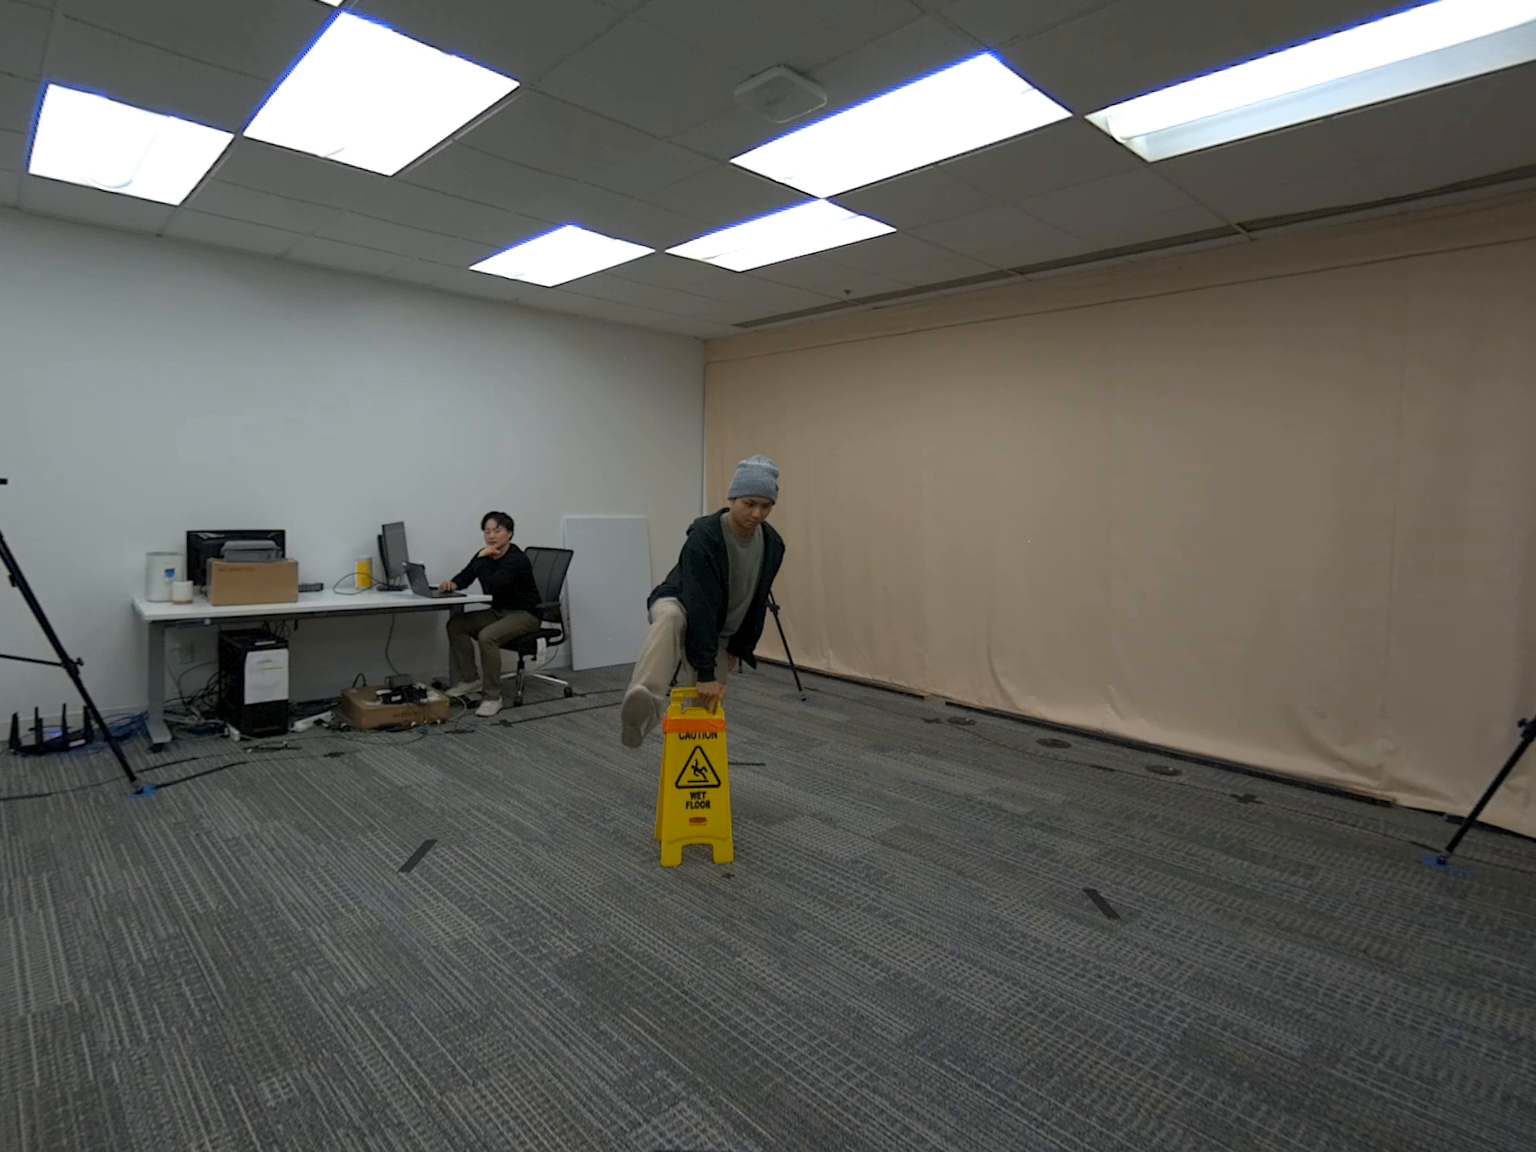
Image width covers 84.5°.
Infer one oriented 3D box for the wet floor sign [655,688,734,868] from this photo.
[{"bbox_3d":[-0.299,0.758,3.308,0.280,0.645,0.293,2,3,-11],"label":"wet floor sign"}]
